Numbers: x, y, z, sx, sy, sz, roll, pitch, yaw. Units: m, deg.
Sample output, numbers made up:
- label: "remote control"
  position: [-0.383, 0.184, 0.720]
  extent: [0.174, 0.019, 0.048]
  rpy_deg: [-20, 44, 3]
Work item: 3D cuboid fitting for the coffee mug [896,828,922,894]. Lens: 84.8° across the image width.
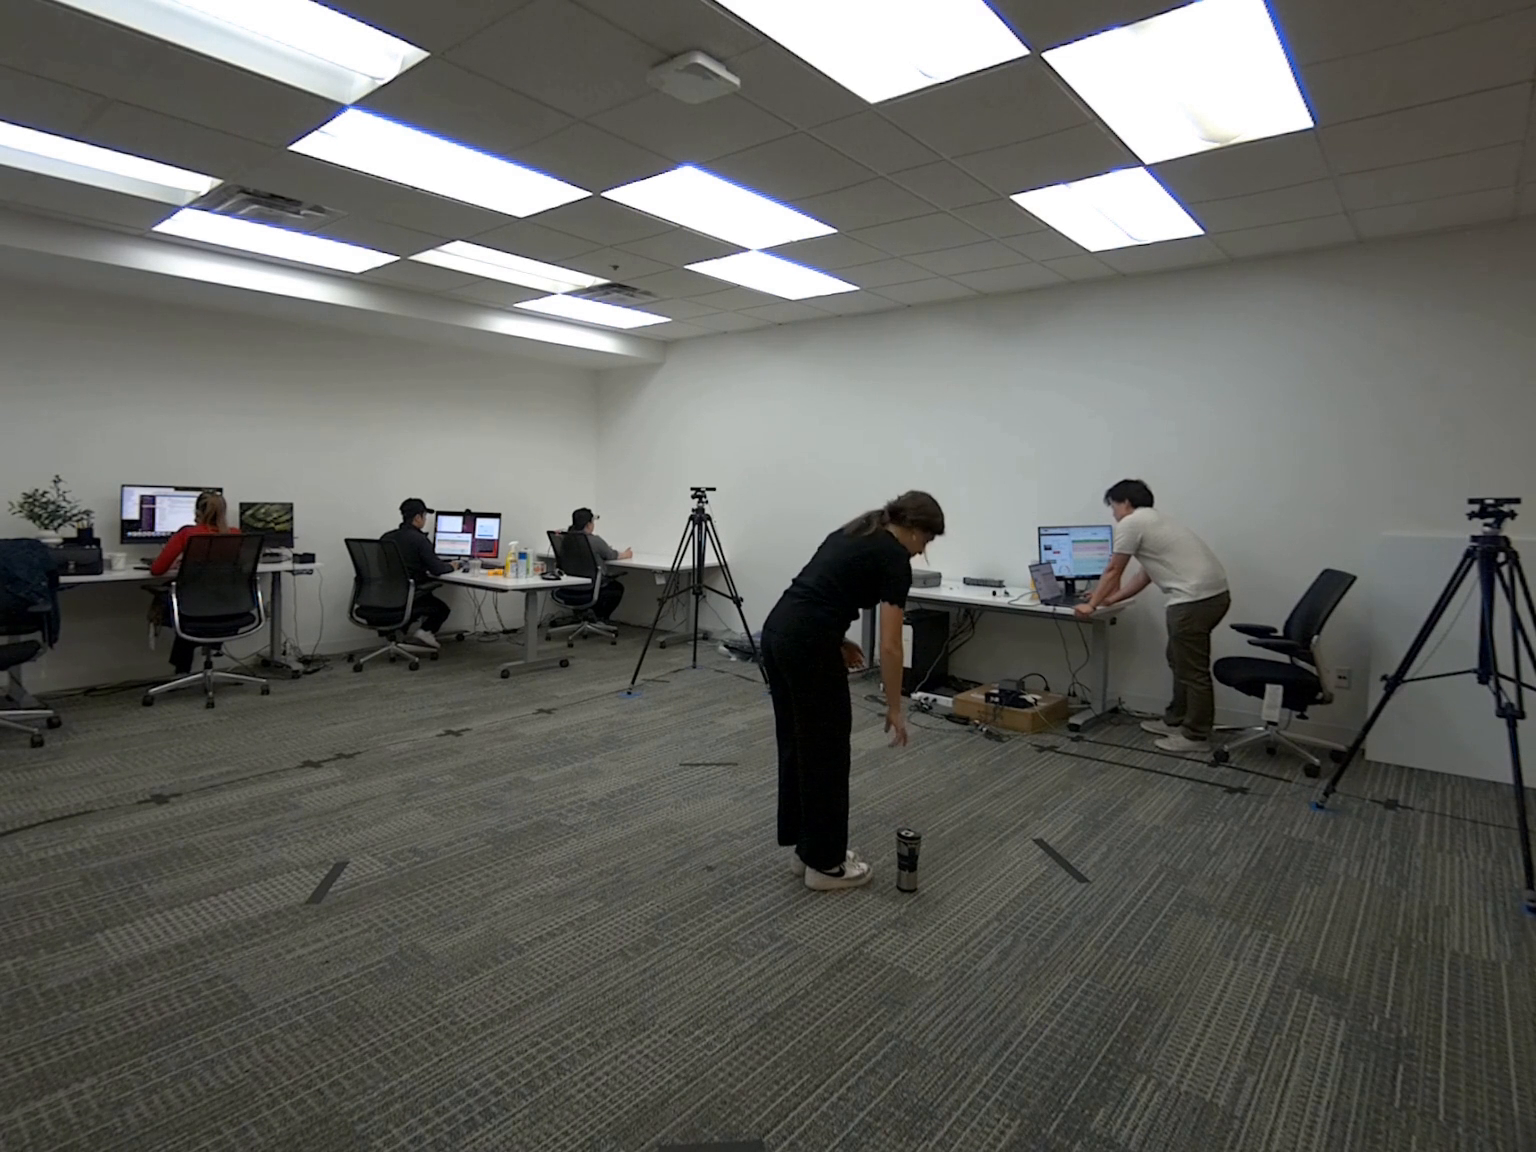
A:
- label: "coffee mug"
  position: [0.474, 1.004, 2.961]
  extent: [0.090, 0.202, 0.119]
  rpy_deg: [7, 5, 30]
